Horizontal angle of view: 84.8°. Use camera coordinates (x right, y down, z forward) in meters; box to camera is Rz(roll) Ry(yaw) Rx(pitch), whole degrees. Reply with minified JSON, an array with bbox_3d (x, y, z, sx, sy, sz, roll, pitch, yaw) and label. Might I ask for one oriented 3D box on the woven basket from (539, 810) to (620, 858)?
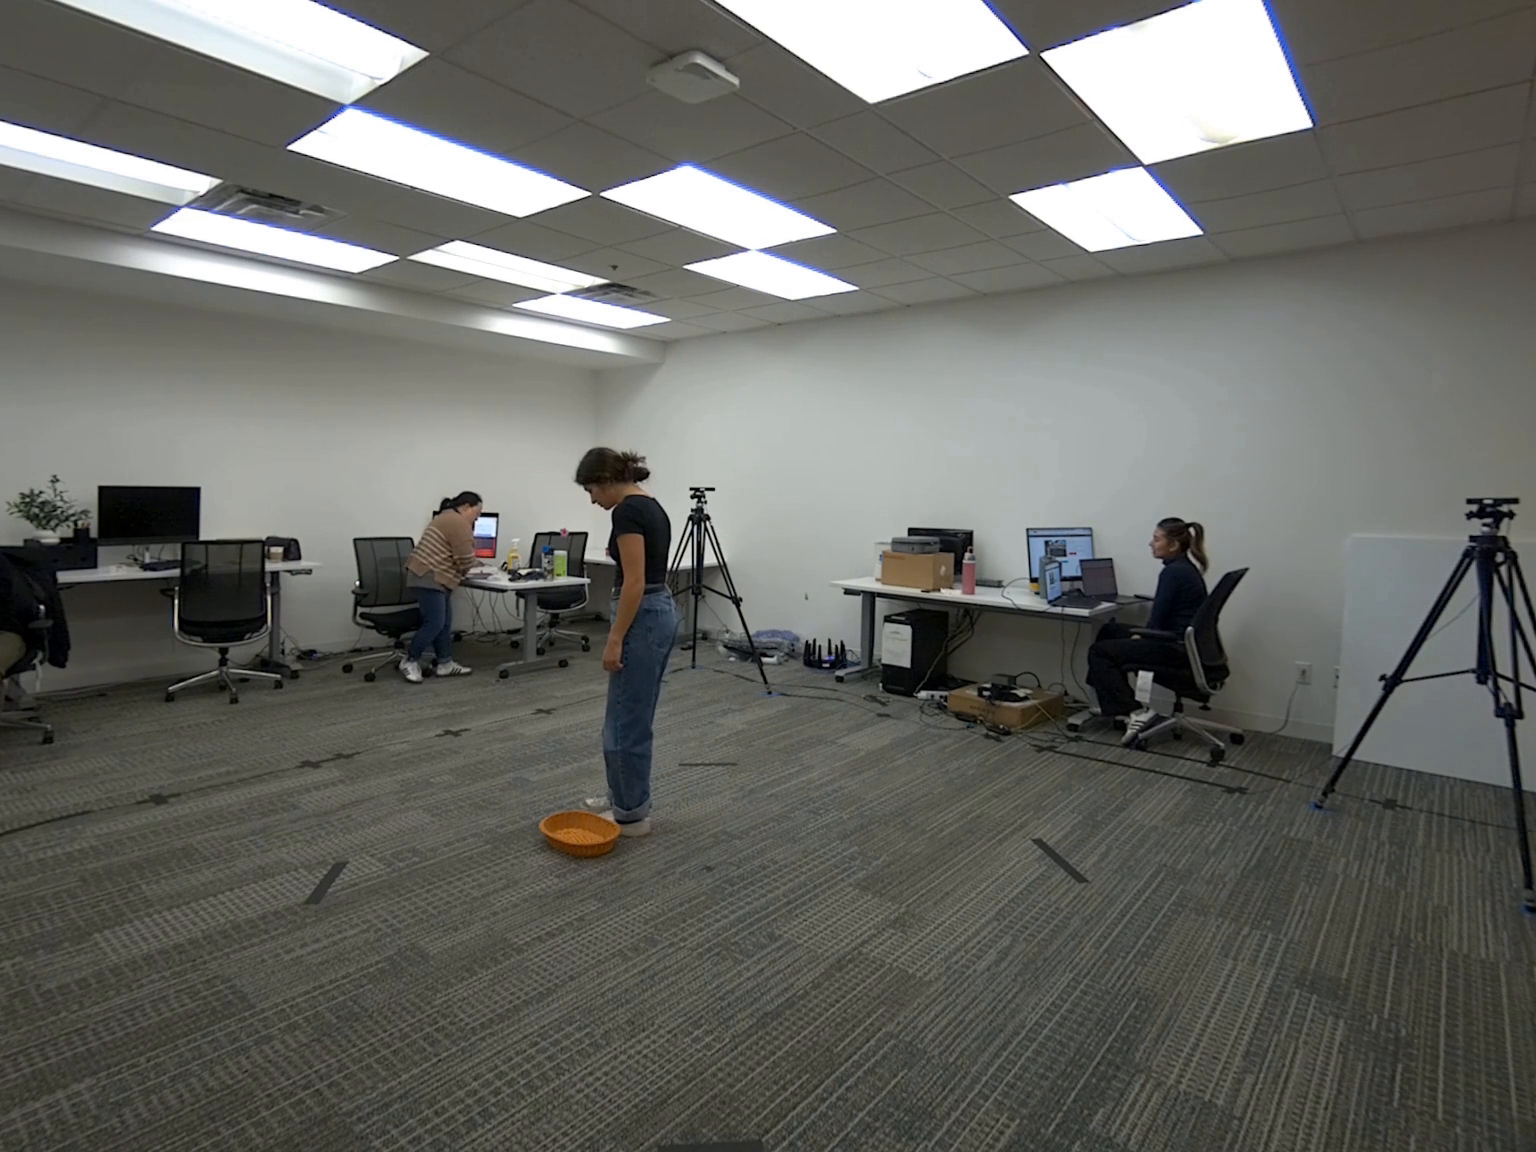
[{"bbox_3d":[-0.742,0.995,3.299,0.362,0.073,0.245,6,8,42],"label":"woven basket"}]
